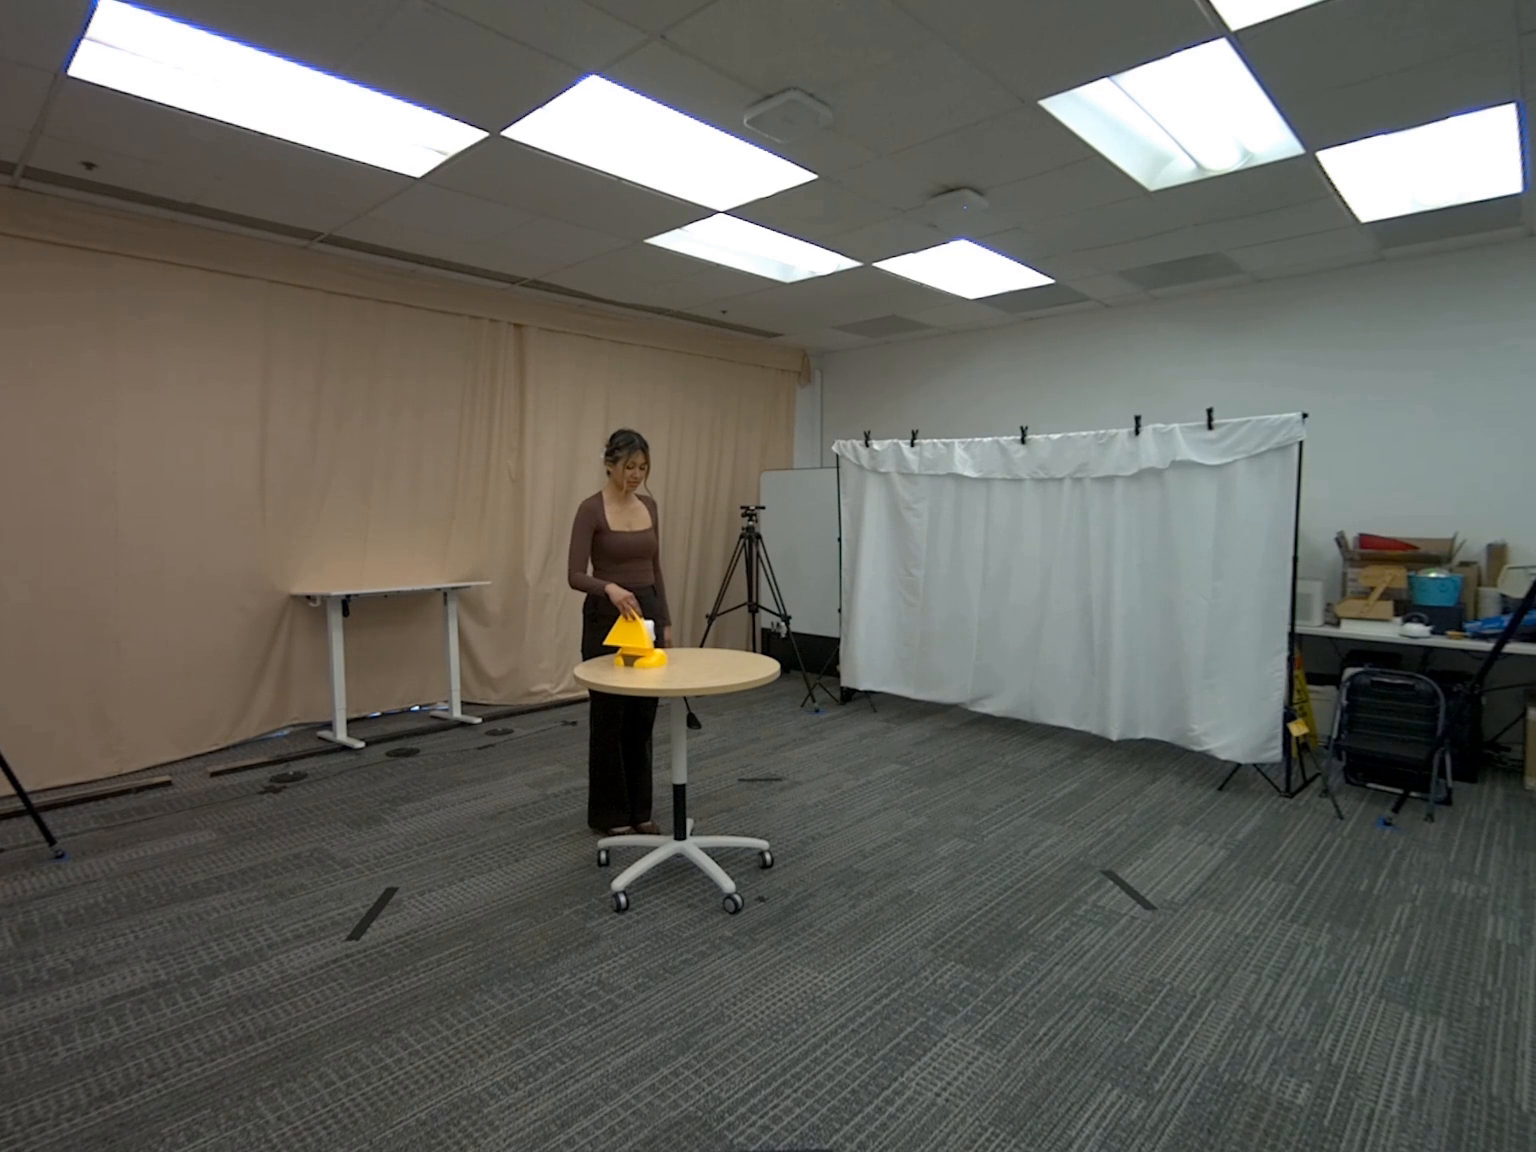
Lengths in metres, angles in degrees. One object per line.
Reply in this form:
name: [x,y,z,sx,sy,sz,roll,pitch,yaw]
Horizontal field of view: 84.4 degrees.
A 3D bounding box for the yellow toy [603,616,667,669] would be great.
yellow toy: [-0.492,0.220,3.204,0.210,0.230,0.188,1,3,27]
